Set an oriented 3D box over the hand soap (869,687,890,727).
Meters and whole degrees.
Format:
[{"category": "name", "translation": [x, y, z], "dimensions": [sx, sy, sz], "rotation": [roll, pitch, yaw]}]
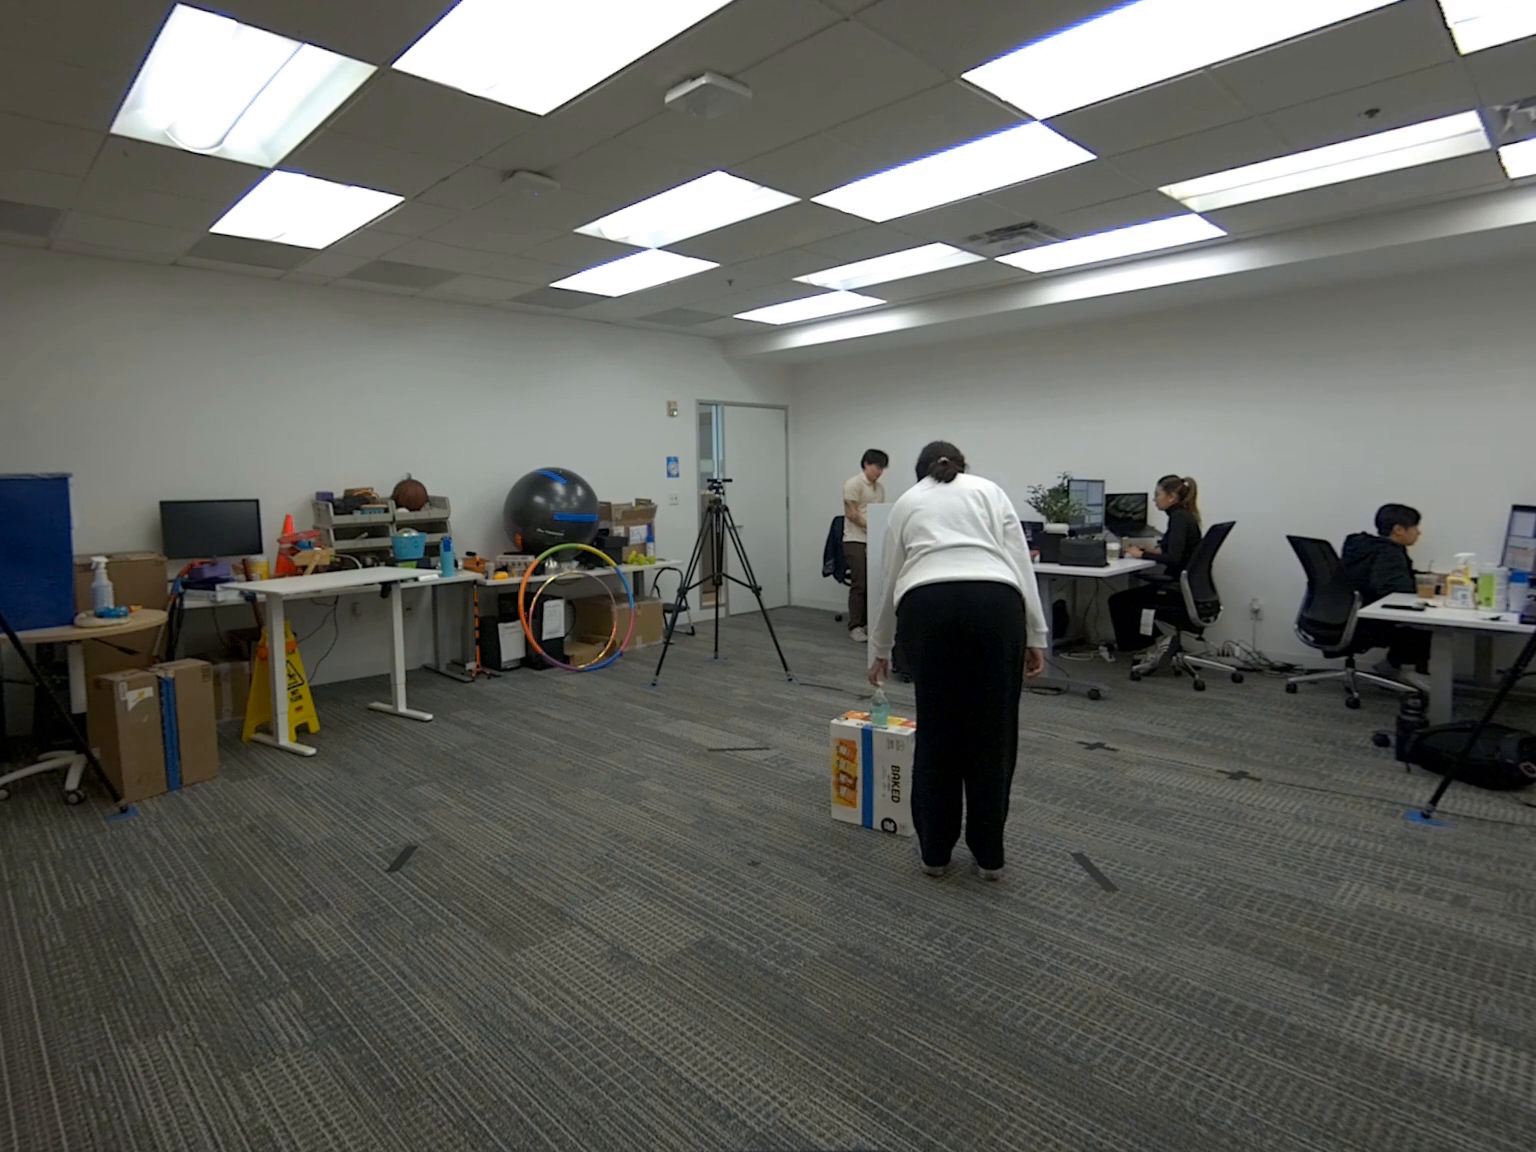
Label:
[{"category": "hand soap", "translation": [0.446, 0.509, 3.435], "dimensions": [0.087, 0.168, 0.042], "rotation": [3, 3, 28]}]
